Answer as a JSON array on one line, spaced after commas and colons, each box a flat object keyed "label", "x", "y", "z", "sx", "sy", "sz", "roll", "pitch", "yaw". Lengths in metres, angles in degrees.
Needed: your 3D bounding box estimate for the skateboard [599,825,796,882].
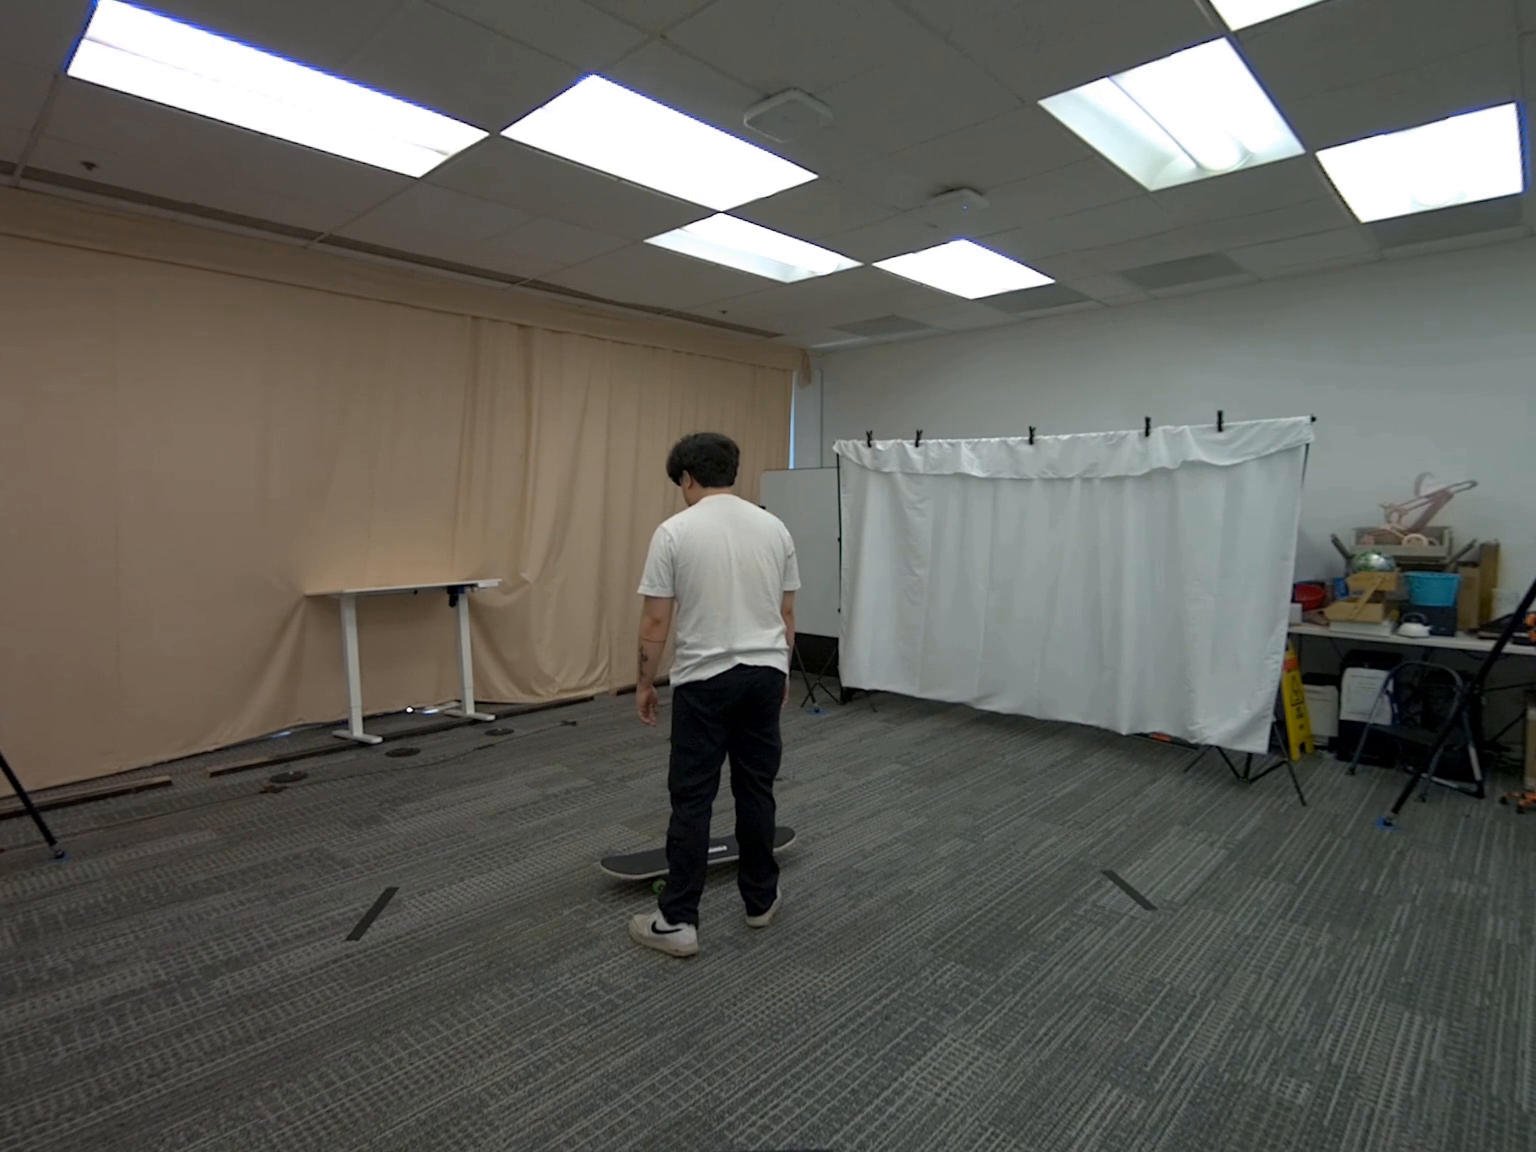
[{"label": "skateboard", "x": -0.250, "y": 1.073, "z": 3.177, "sx": 0.767, "sy": 0.110, "sz": 0.198, "roll": -2, "pitch": 4, "yaw": -24}]
